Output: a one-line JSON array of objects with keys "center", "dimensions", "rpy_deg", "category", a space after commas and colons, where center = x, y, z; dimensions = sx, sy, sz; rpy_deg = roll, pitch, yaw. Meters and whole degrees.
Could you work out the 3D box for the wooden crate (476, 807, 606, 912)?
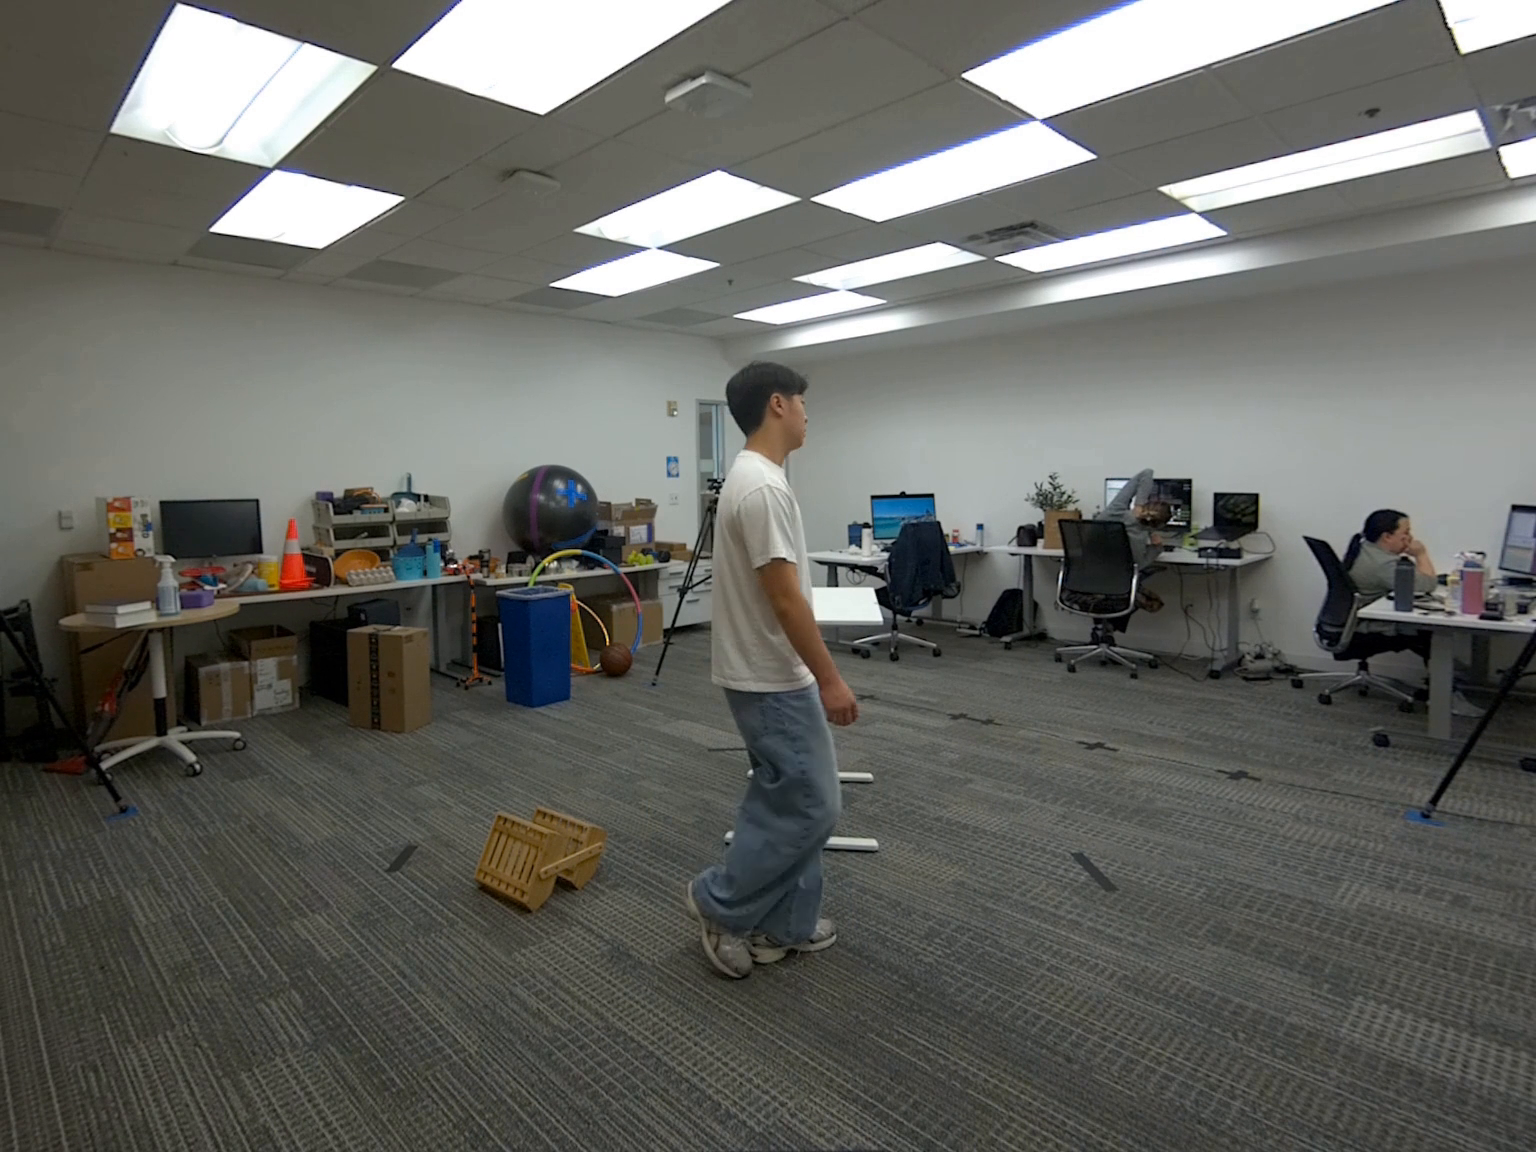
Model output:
[{"center": [-0.790, 0.984, 2.990], "dimensions": [0.334, 0.305, 0.263], "rpy_deg": [3, -21, 39], "category": "wooden crate"}]
